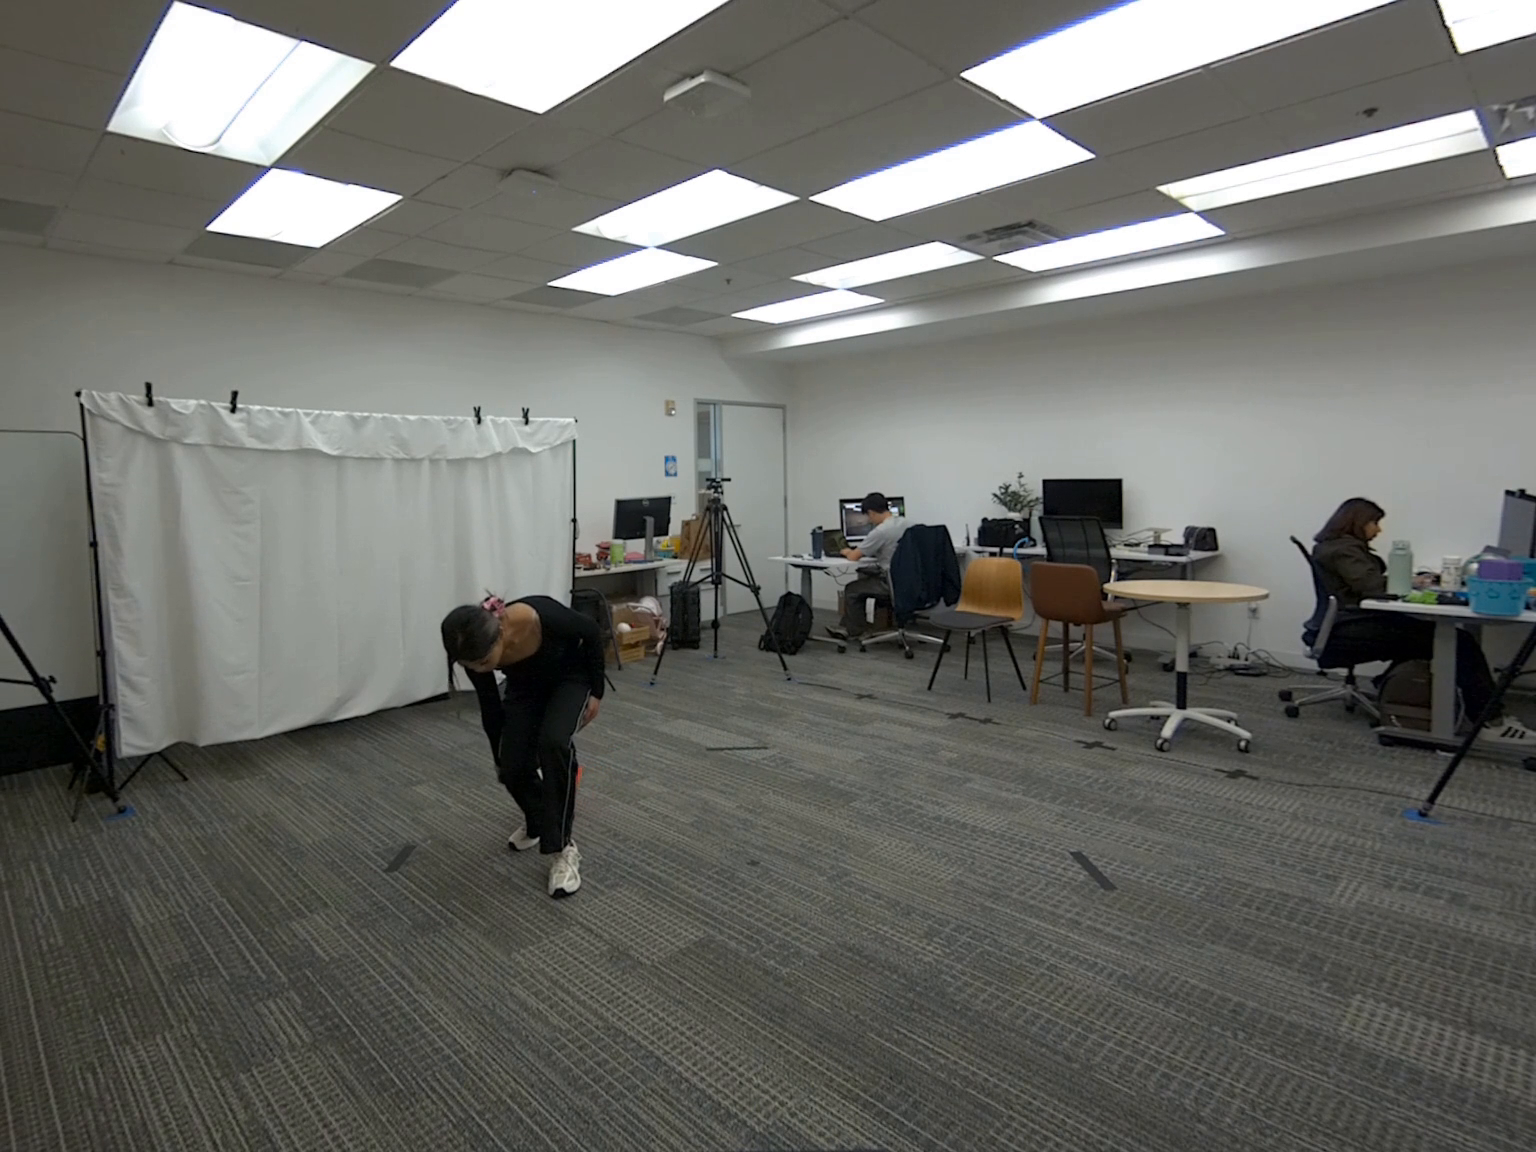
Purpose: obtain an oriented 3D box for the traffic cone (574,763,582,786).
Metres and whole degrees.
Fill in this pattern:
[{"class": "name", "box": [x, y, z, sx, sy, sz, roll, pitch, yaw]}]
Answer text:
[{"class": "traffic cone", "box": [-0.981, 0.847, 3.517, 0.211, 0.205, 0.369, 7, -19, 29]}]
